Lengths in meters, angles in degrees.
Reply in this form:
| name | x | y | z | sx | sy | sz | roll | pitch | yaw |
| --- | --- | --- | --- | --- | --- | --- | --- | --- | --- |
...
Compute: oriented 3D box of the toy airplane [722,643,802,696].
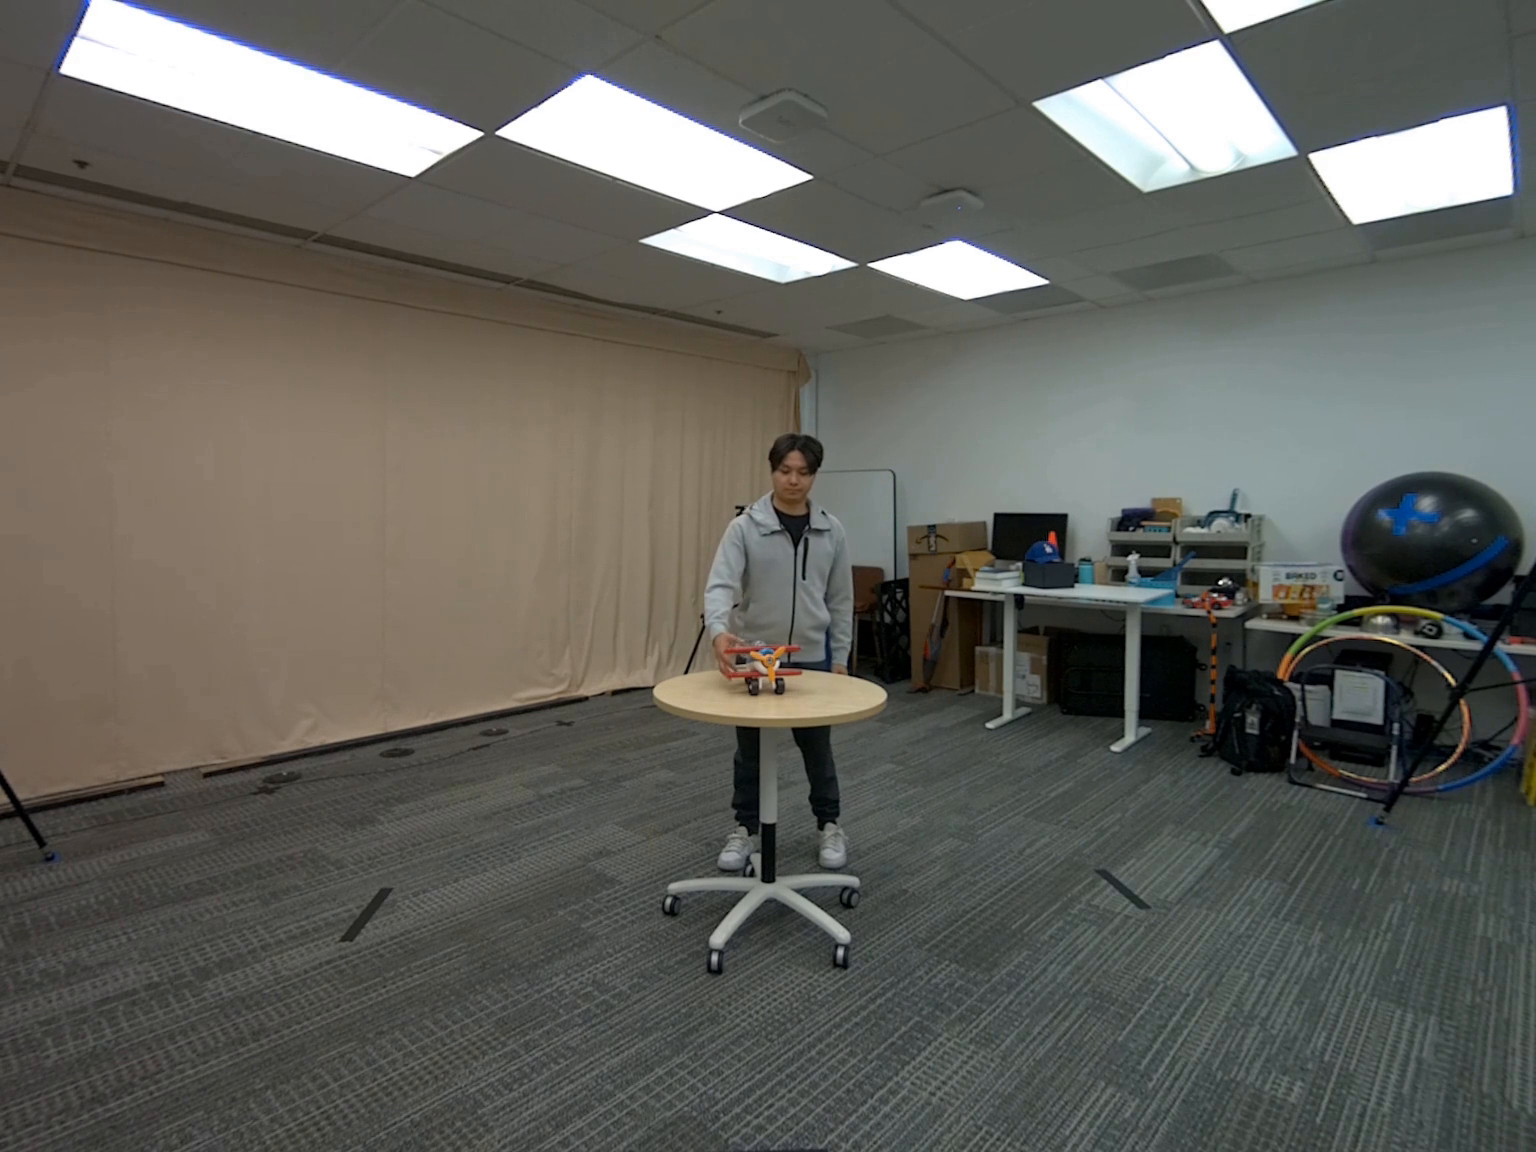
| name | x | y | z | sx | sy | sz | roll | pitch | yaw |
| --- | --- | --- | --- | --- | --- | --- | --- | --- | --- |
| toy airplane | -0.044 | 0.297 | 2.788 | 0.243 | 0.156 | 0.268 | -5 | 7 | -40 |
